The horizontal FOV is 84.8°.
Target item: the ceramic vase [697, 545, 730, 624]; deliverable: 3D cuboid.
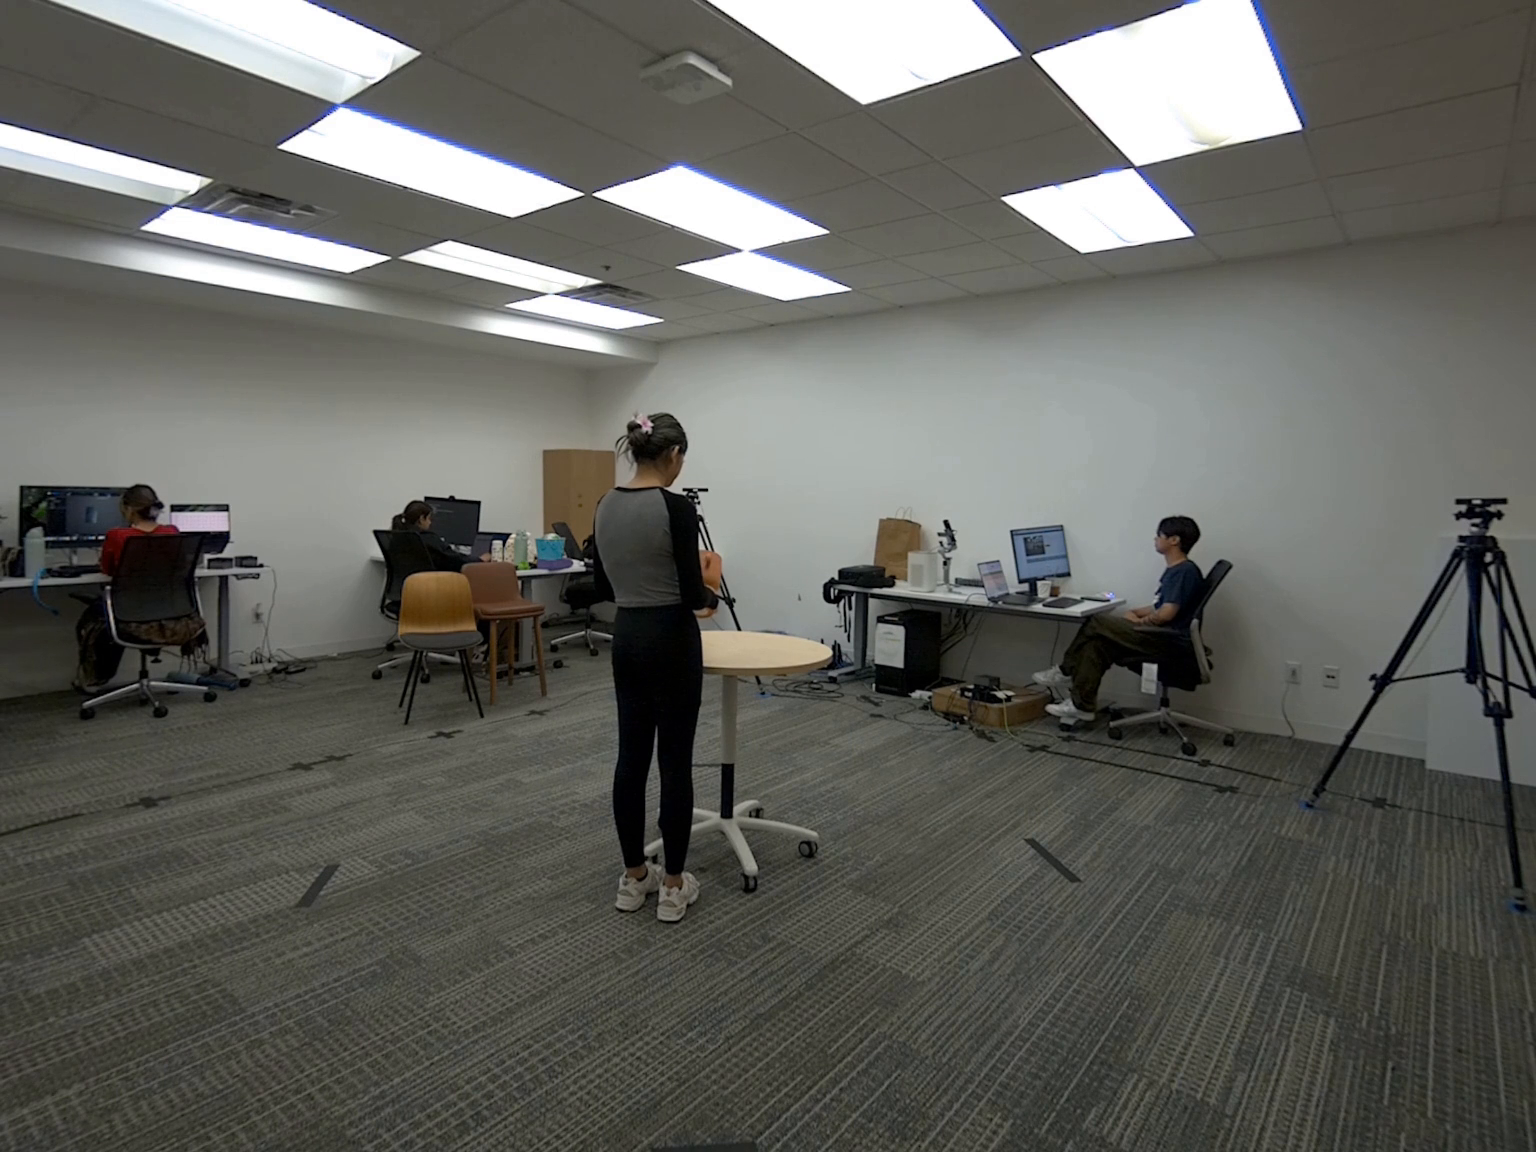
[{"bbox_3d":[-0.245,0.031,3.048,0.137,0.225,0.152,-11,-36,23],"label":"ceramic vase"}]
